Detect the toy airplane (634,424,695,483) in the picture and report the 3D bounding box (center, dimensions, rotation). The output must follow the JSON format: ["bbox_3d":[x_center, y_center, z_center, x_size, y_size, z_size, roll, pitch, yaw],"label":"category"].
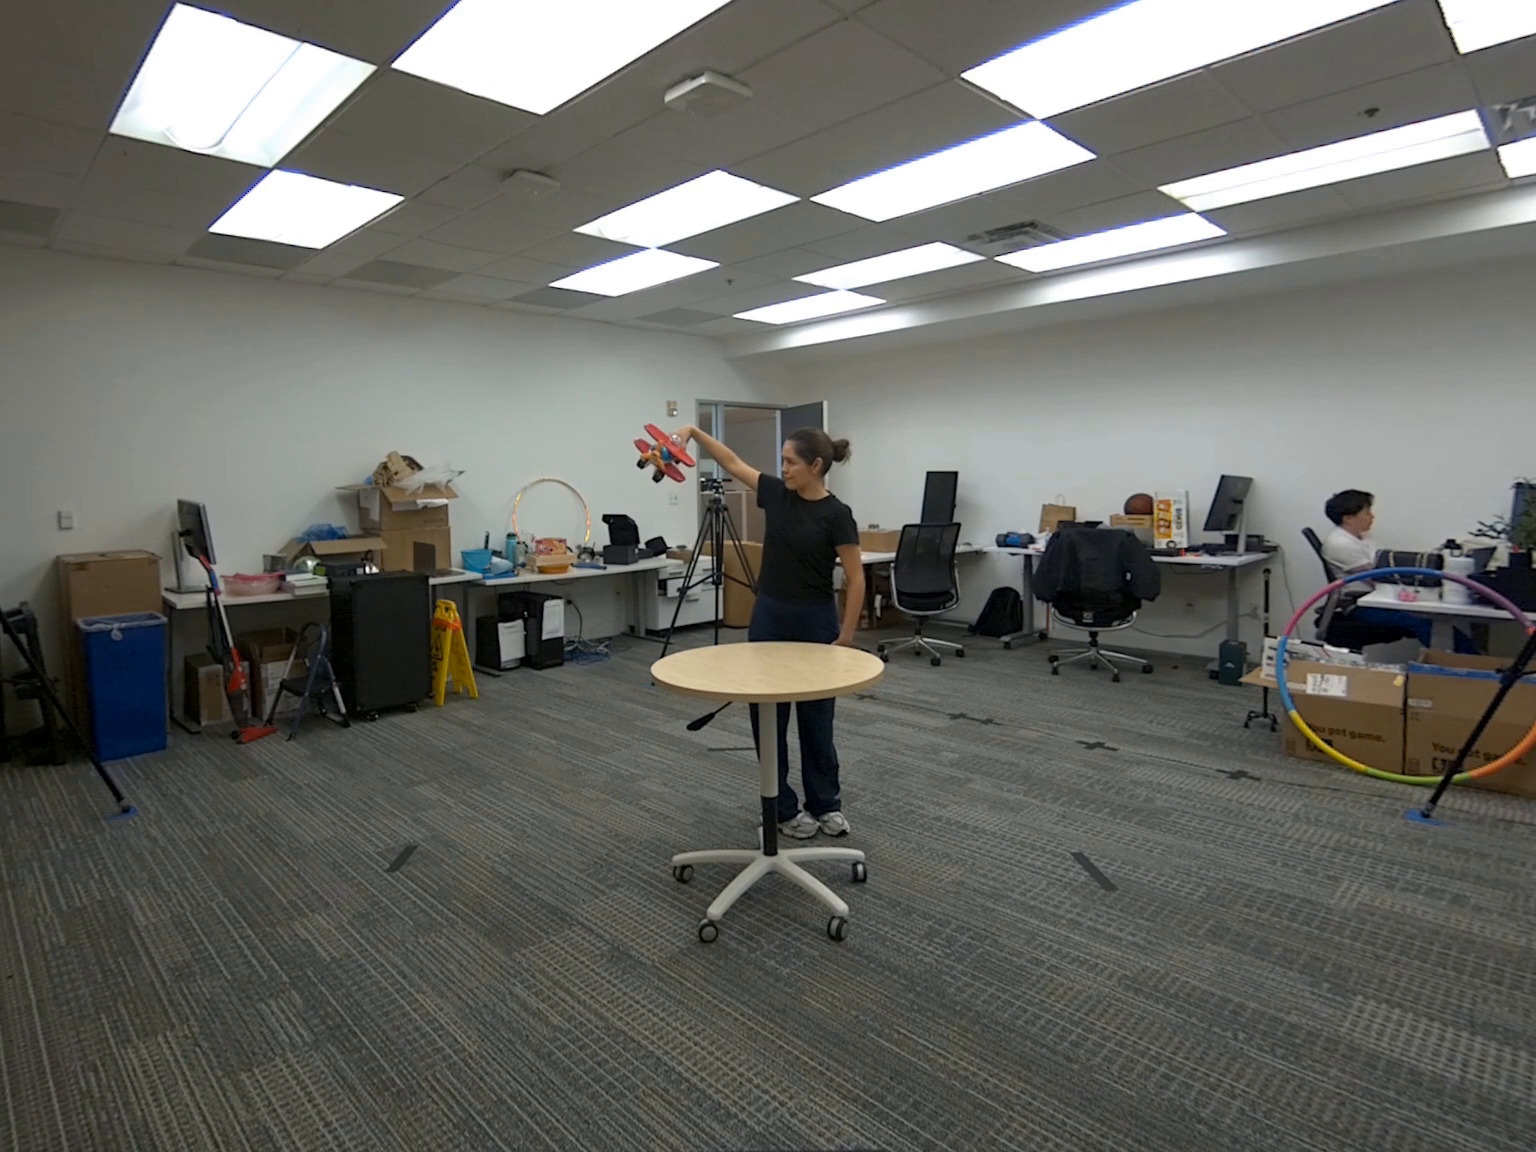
[{"bbox_3d":[-0.417,-0.499,3.432,0.247,0.155,0.265,24,40,-14],"label":"toy airplane"}]
